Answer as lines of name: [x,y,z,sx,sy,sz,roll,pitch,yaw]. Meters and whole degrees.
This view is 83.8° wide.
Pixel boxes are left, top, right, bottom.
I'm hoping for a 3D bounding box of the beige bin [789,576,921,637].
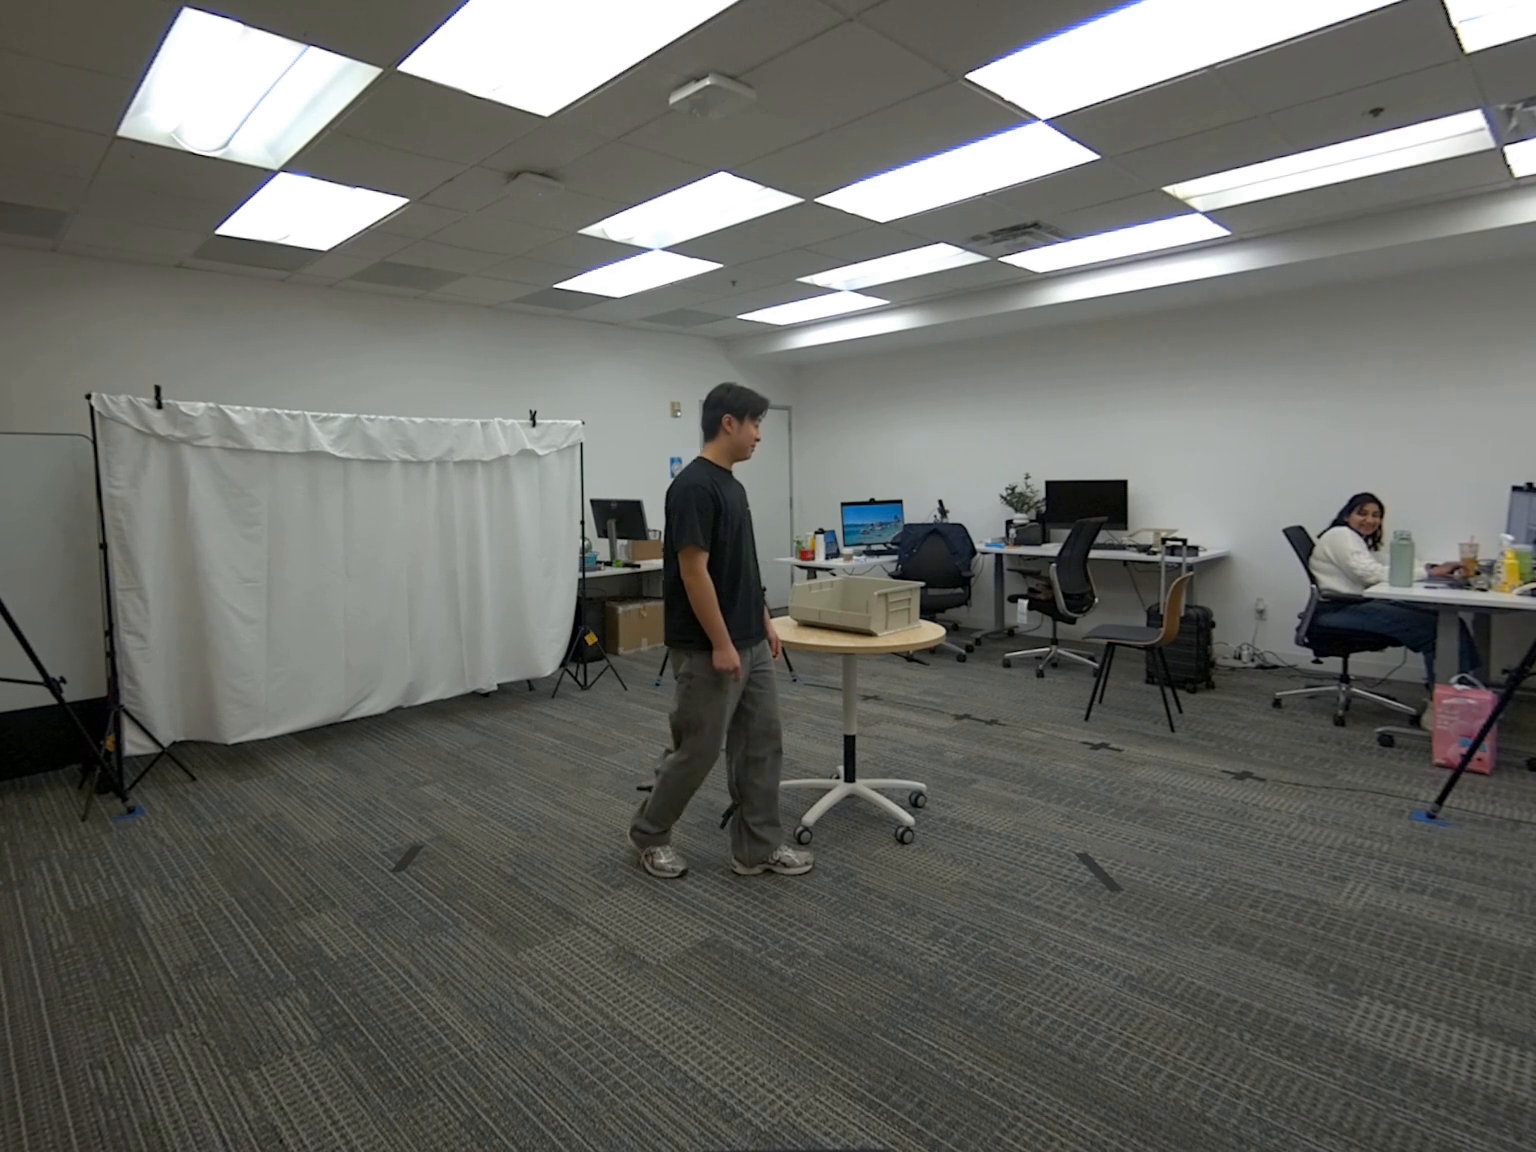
beige bin: [0.365,0.121,3.531,0.435,0.188,0.367,4,7,43]
